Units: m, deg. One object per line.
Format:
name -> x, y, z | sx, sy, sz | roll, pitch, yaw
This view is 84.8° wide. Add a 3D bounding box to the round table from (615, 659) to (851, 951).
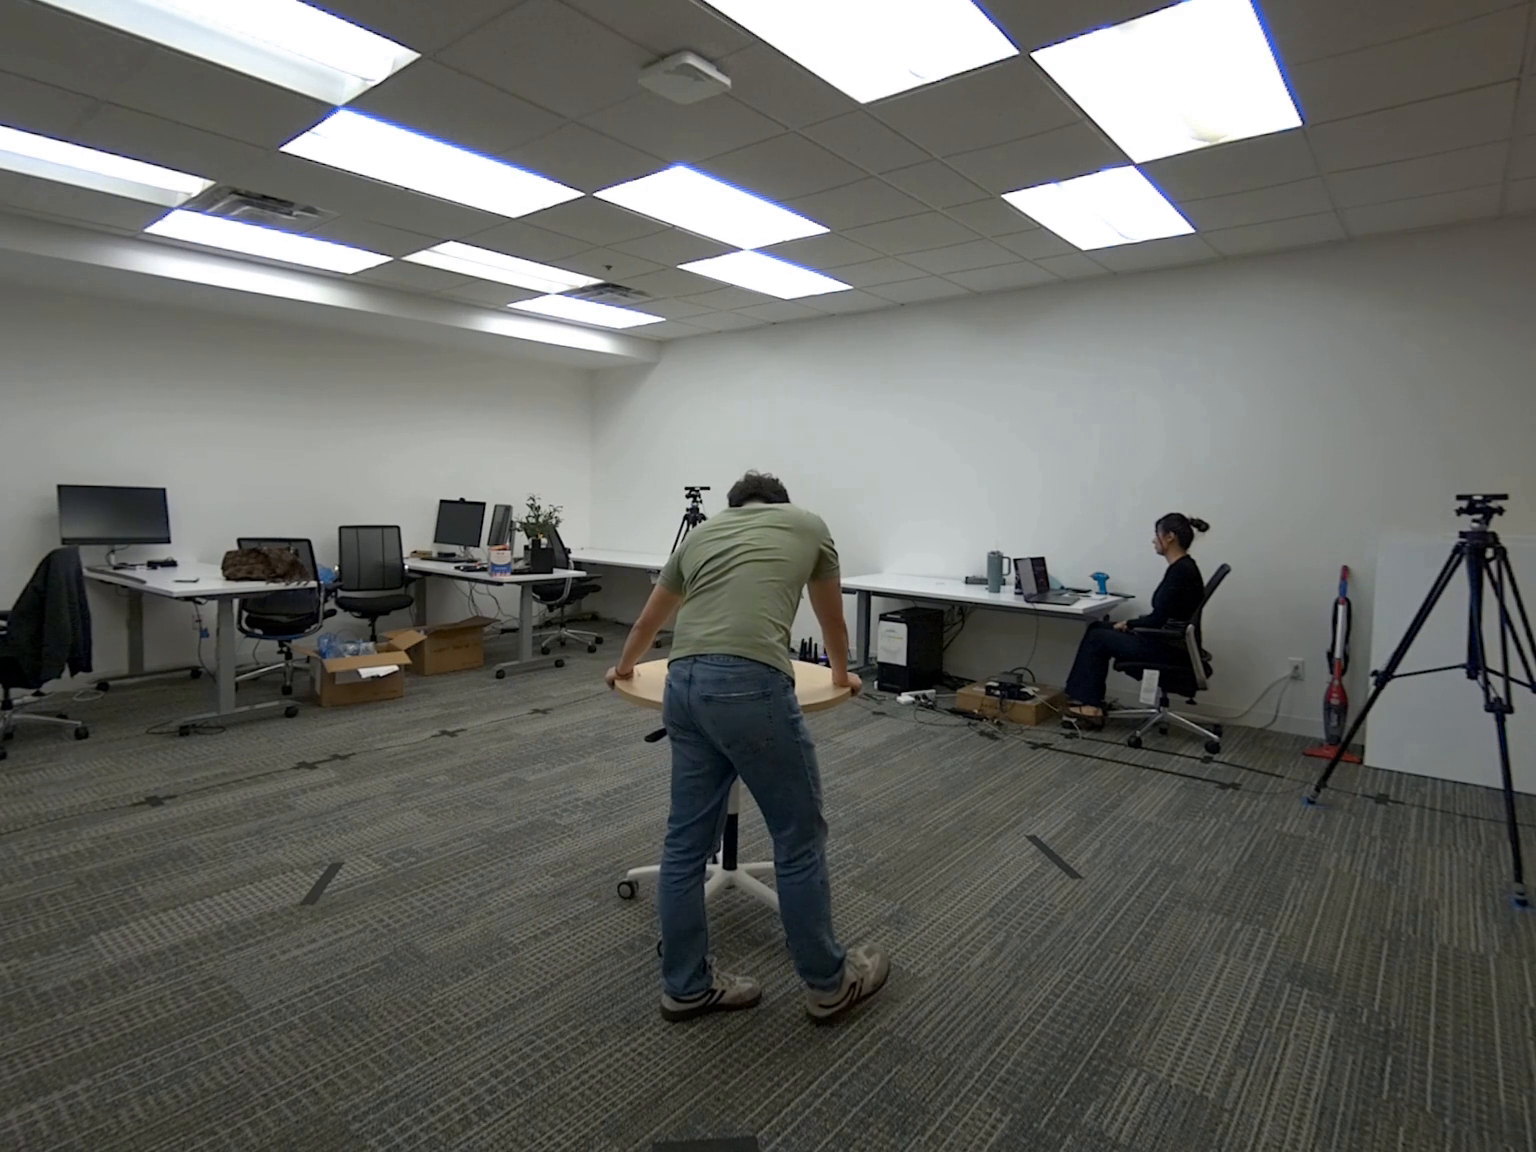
round table -> -0.126, 0.716, 2.783 | 0.763, 0.791, 0.768 | 1, 4, -2
